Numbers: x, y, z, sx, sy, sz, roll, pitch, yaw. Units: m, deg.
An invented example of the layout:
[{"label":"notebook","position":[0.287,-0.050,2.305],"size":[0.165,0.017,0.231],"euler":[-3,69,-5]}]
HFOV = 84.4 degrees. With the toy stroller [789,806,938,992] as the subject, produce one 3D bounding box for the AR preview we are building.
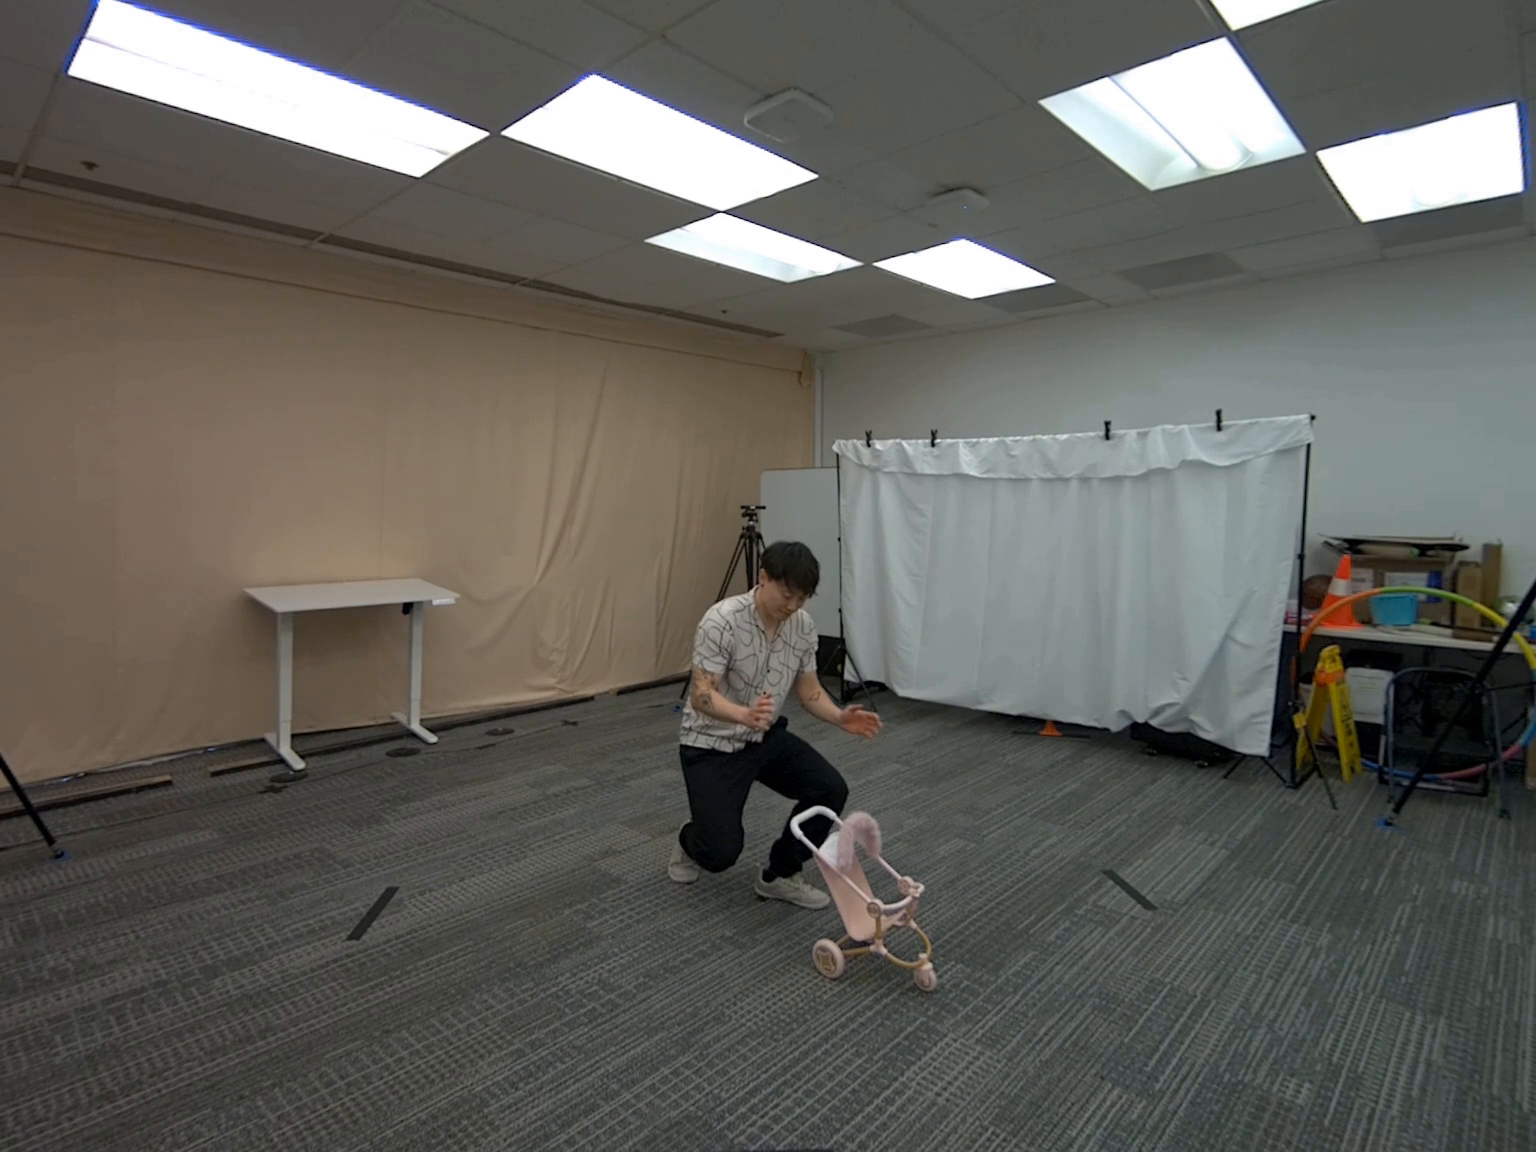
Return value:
[{"label":"toy stroller","position":[0.304,0.957,2.533],"size":[0.349,0.539,0.273],"euler":[-21,-11,42]}]
